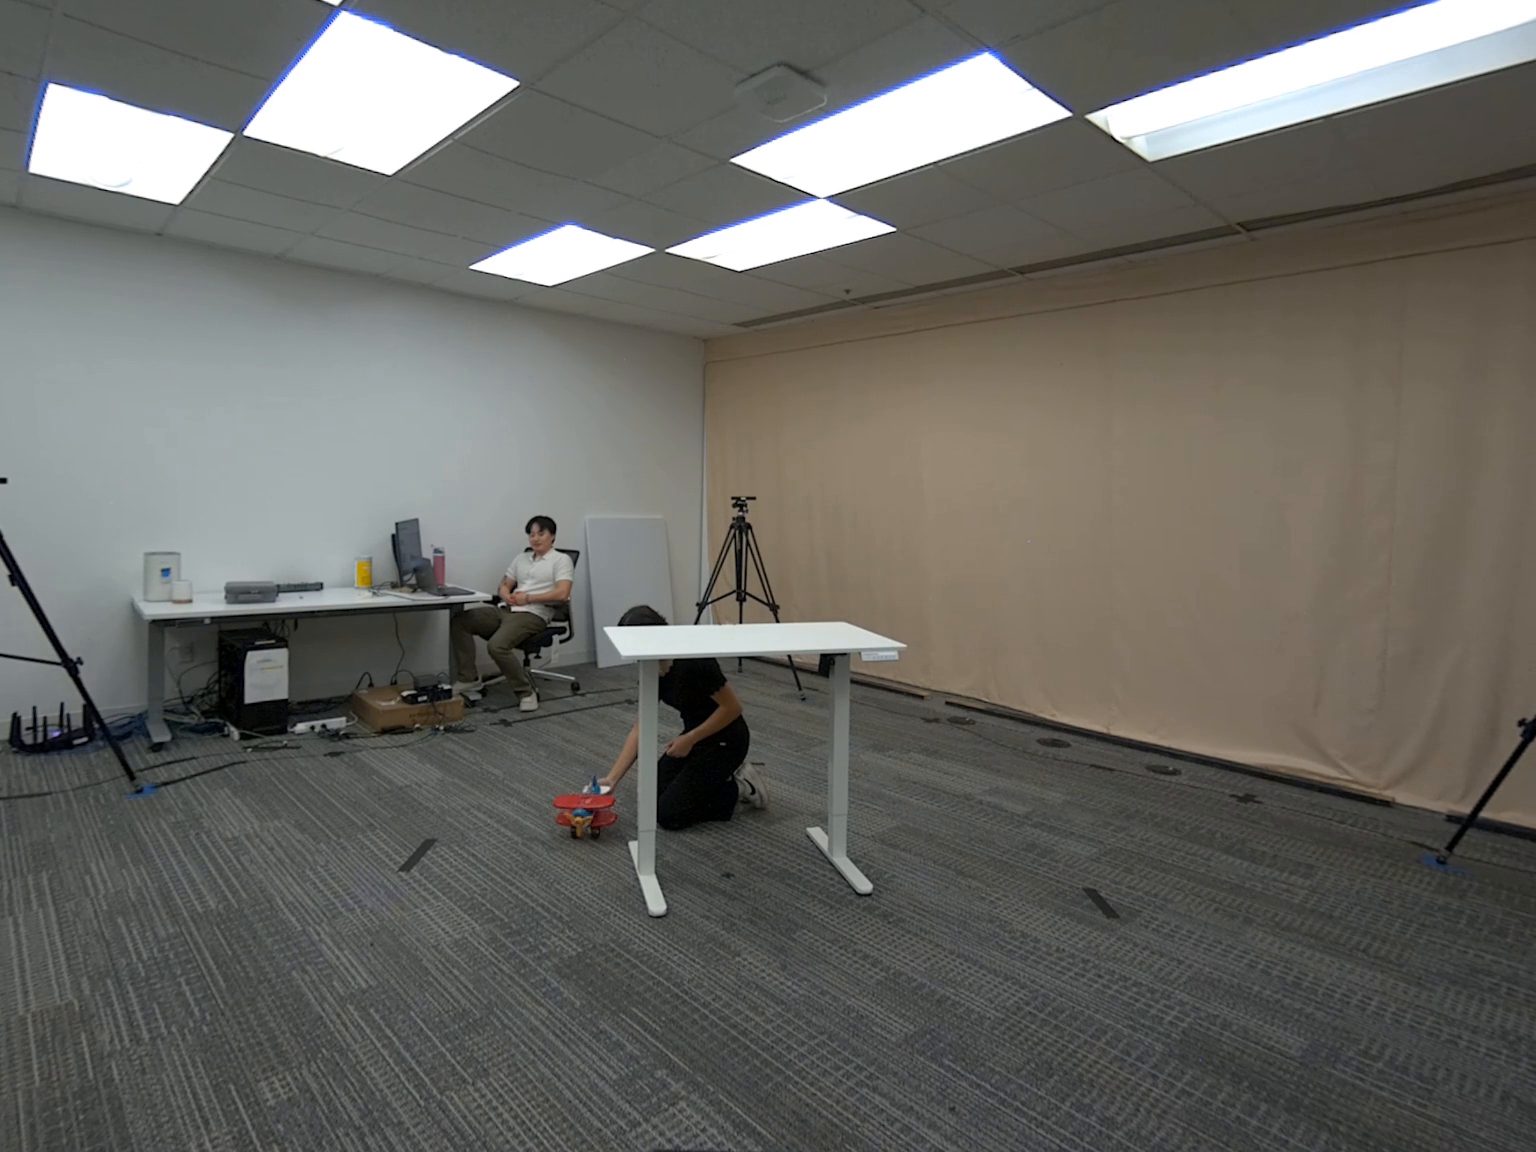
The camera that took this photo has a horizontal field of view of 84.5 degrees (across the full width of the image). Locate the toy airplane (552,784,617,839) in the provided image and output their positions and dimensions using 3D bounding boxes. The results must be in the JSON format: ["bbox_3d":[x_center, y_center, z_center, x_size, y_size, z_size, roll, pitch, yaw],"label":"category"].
[{"bbox_3d":[-0.755,0.942,3.461,0.249,0.153,0.267,-16,35,-15],"label":"toy airplane"}]
